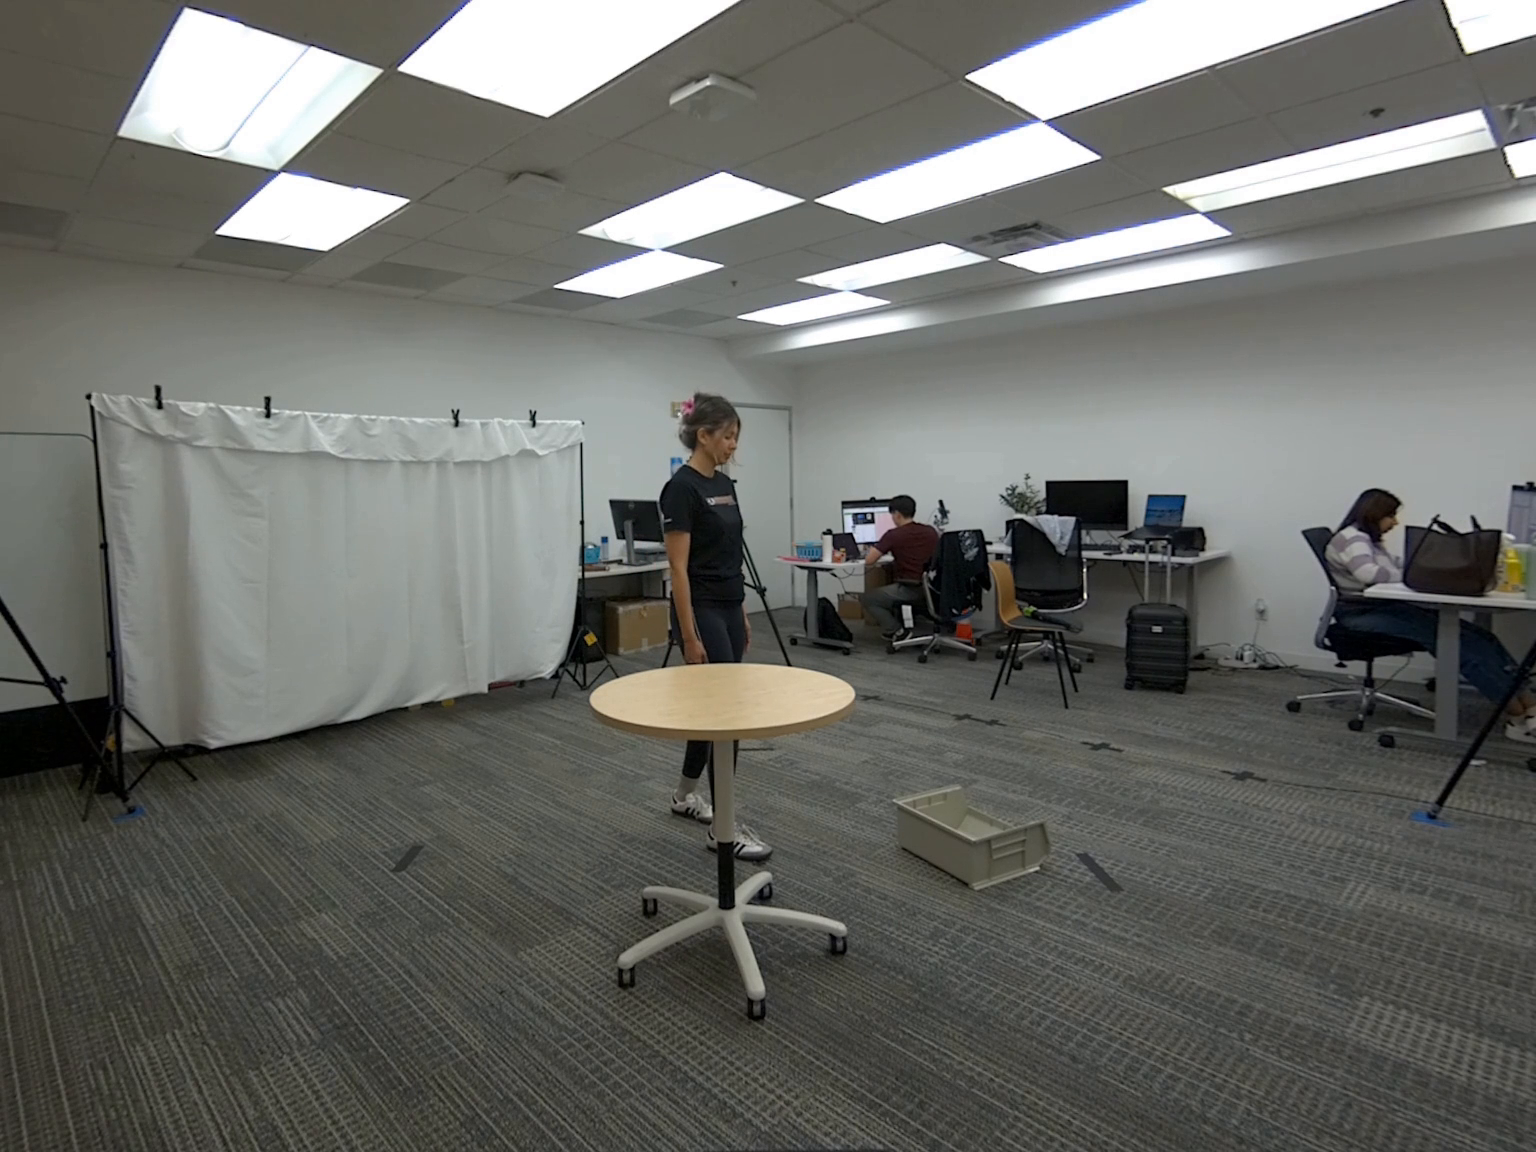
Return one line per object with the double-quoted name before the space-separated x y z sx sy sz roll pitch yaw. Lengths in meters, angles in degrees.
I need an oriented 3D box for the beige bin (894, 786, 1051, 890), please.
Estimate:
"beige bin" 0.745 0.945 3.130 0.369 0.188 0.434 -5 7 -30
